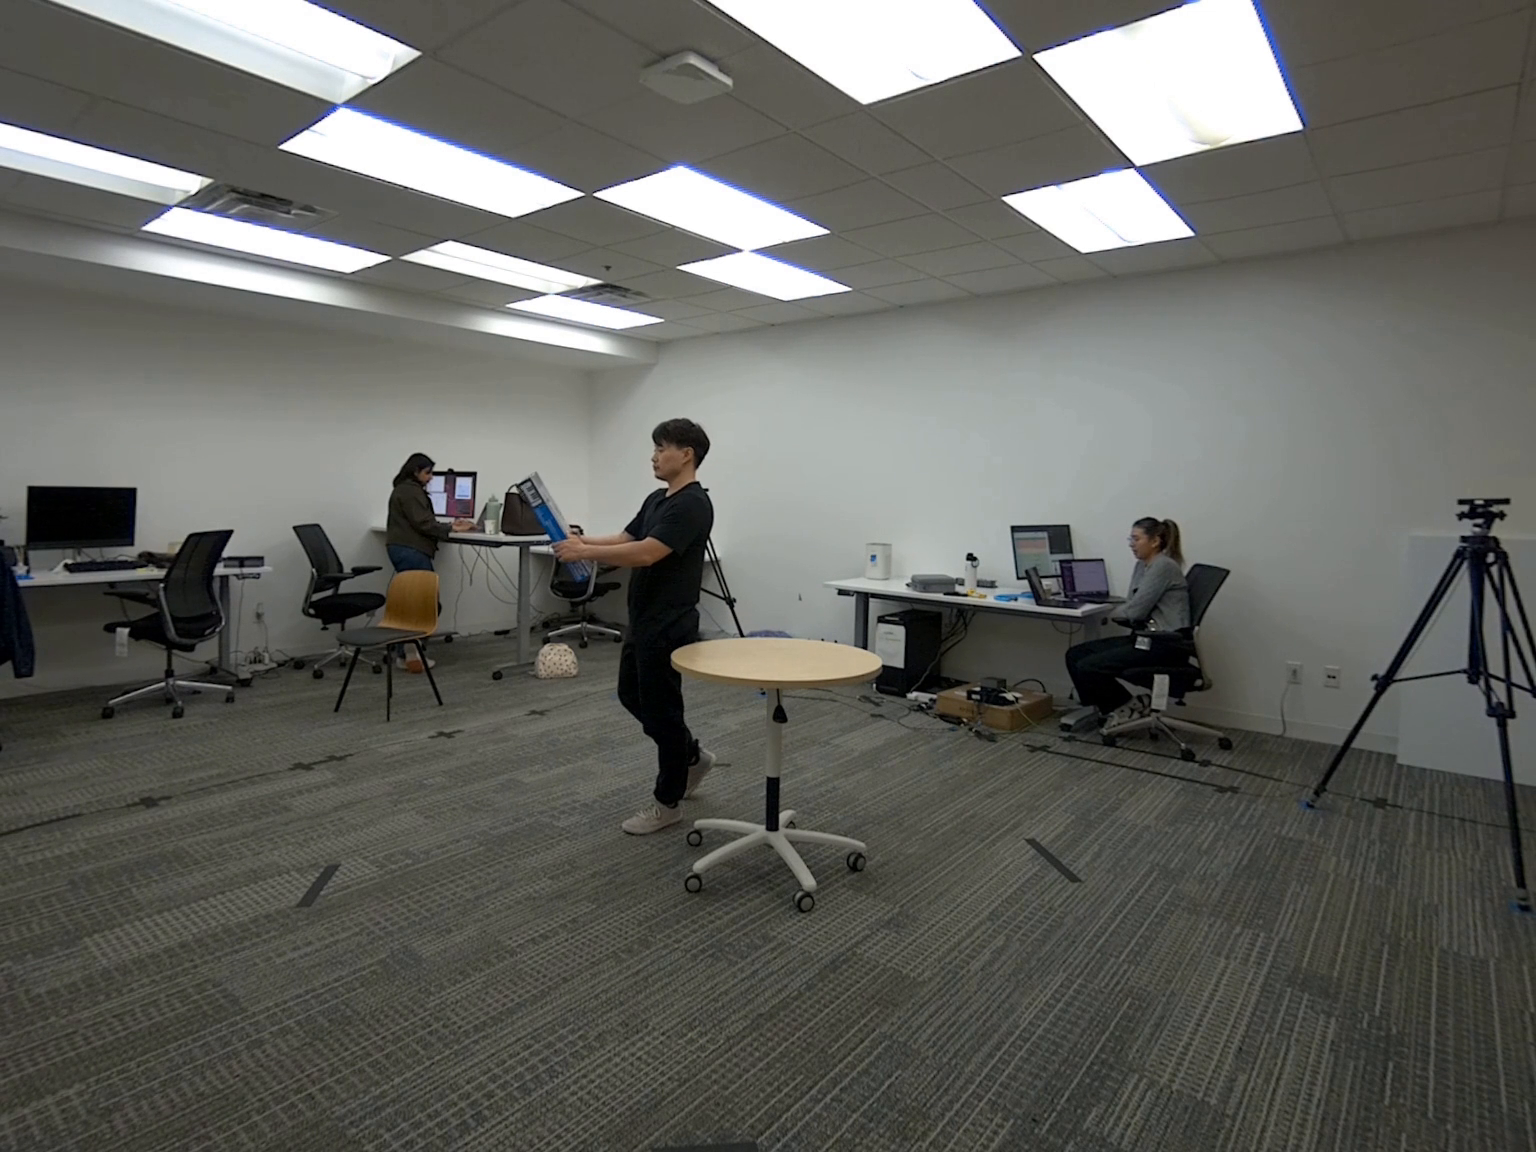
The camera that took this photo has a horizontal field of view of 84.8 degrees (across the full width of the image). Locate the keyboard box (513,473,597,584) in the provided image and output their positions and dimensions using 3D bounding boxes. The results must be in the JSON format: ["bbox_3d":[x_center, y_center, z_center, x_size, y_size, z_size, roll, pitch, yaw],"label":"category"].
[{"bbox_3d":[-0.839,-0.197,3.301,0.059,0.429,0.179,-28,14,1],"label":"keyboard box"}]
